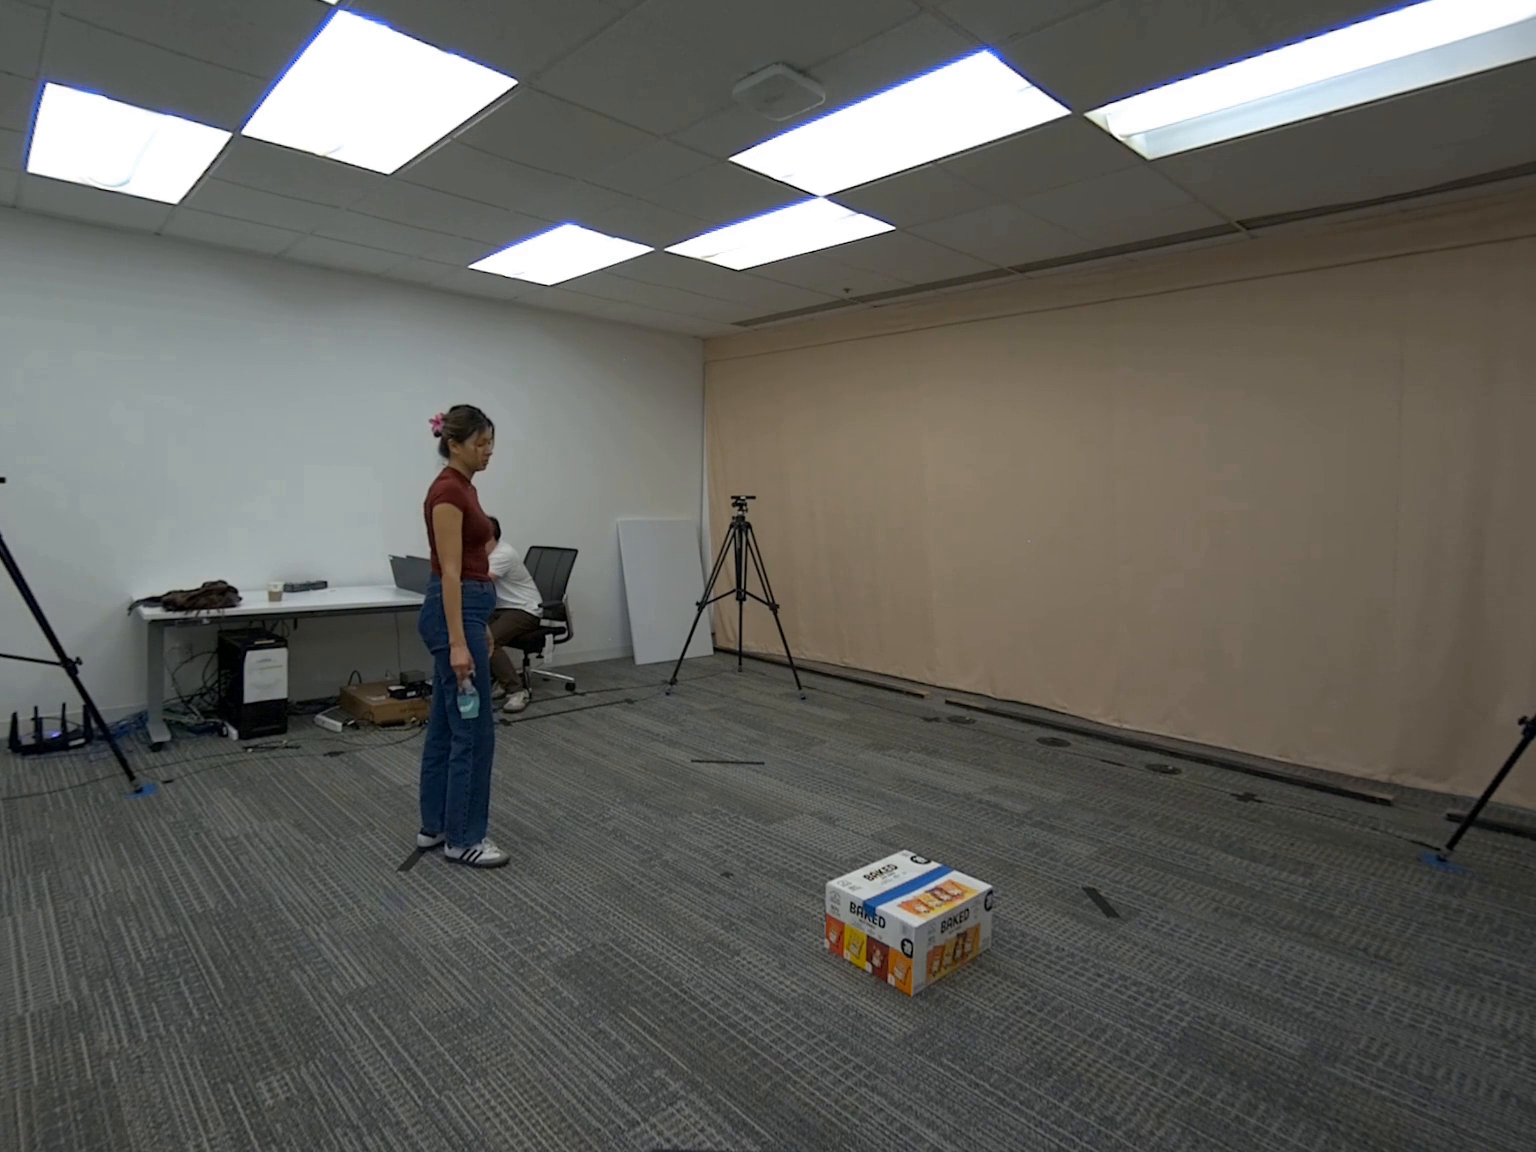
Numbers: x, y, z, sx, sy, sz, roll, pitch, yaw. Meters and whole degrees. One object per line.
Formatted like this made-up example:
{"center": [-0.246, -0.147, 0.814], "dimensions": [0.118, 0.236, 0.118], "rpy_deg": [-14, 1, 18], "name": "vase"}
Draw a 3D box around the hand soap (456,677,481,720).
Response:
{"center": [-1.078, 0.423, 3.009], "dimensions": [0.085, 0.168, 0.043], "rpy_deg": [-1, 1, 11], "name": "hand soap"}
